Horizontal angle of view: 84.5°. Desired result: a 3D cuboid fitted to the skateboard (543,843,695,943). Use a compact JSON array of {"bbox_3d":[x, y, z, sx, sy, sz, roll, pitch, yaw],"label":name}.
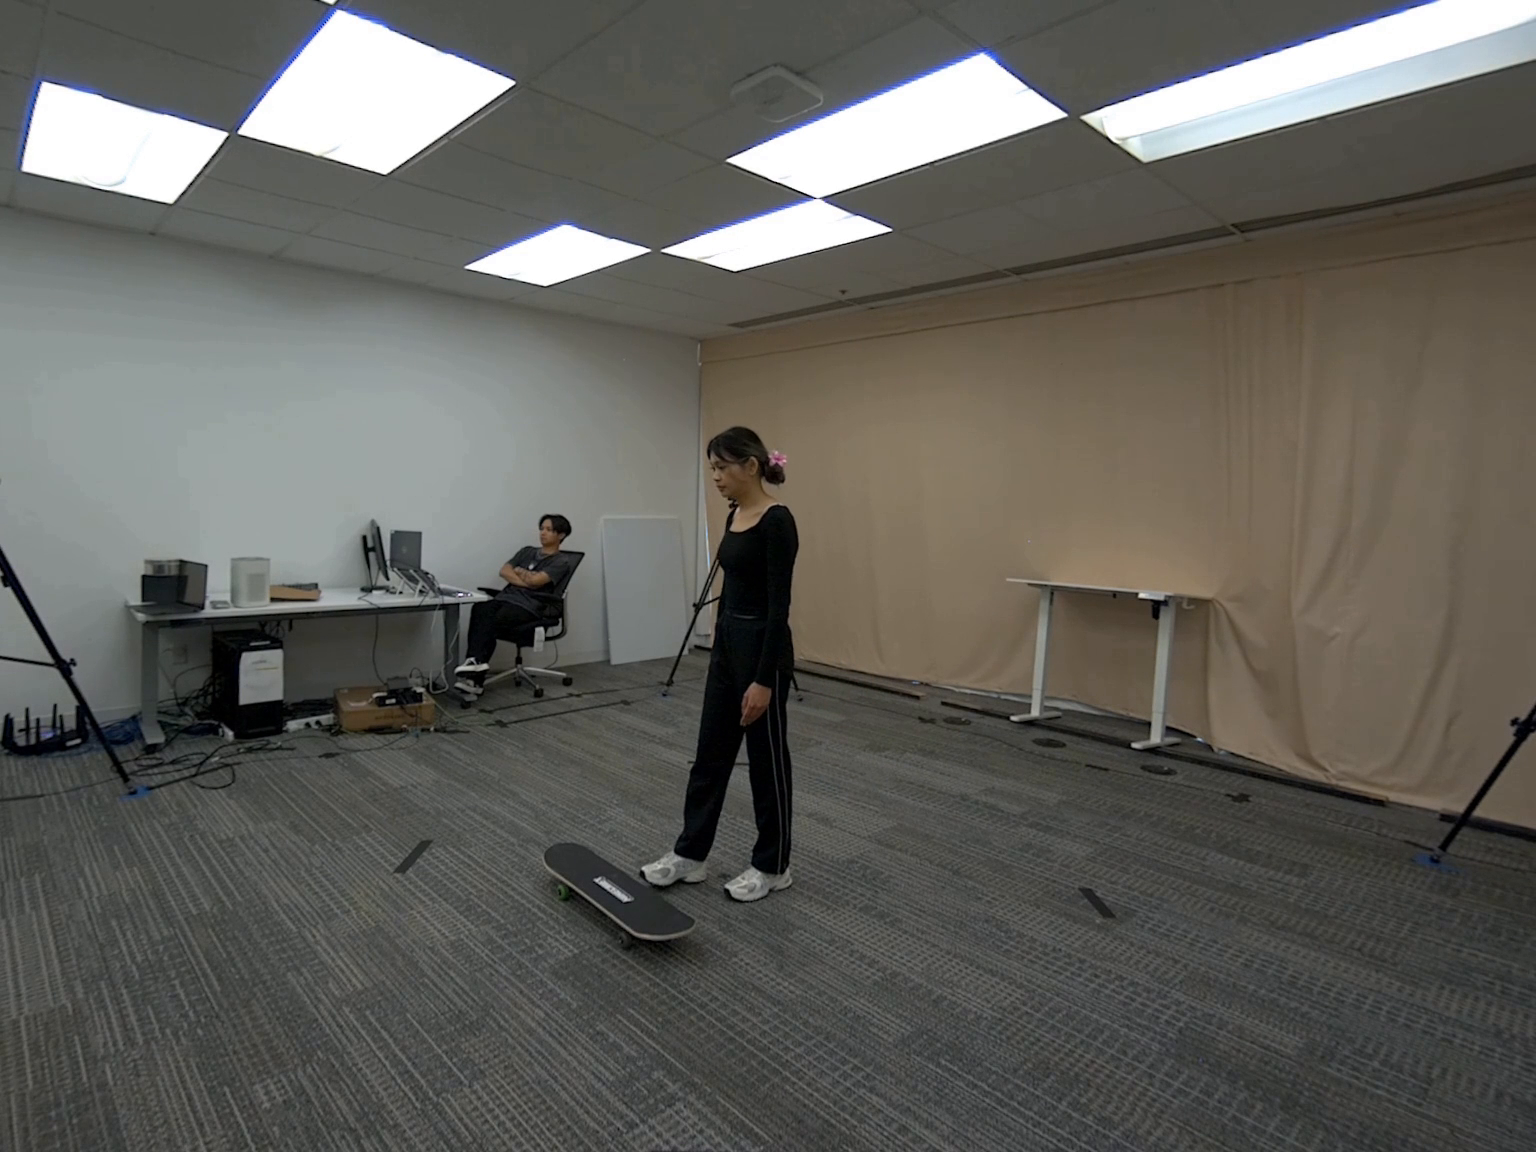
[{"bbox_3d":[-0.532,1.079,2.786,0.189,0.110,0.806,-4,7,-40],"label":"skateboard"}]
